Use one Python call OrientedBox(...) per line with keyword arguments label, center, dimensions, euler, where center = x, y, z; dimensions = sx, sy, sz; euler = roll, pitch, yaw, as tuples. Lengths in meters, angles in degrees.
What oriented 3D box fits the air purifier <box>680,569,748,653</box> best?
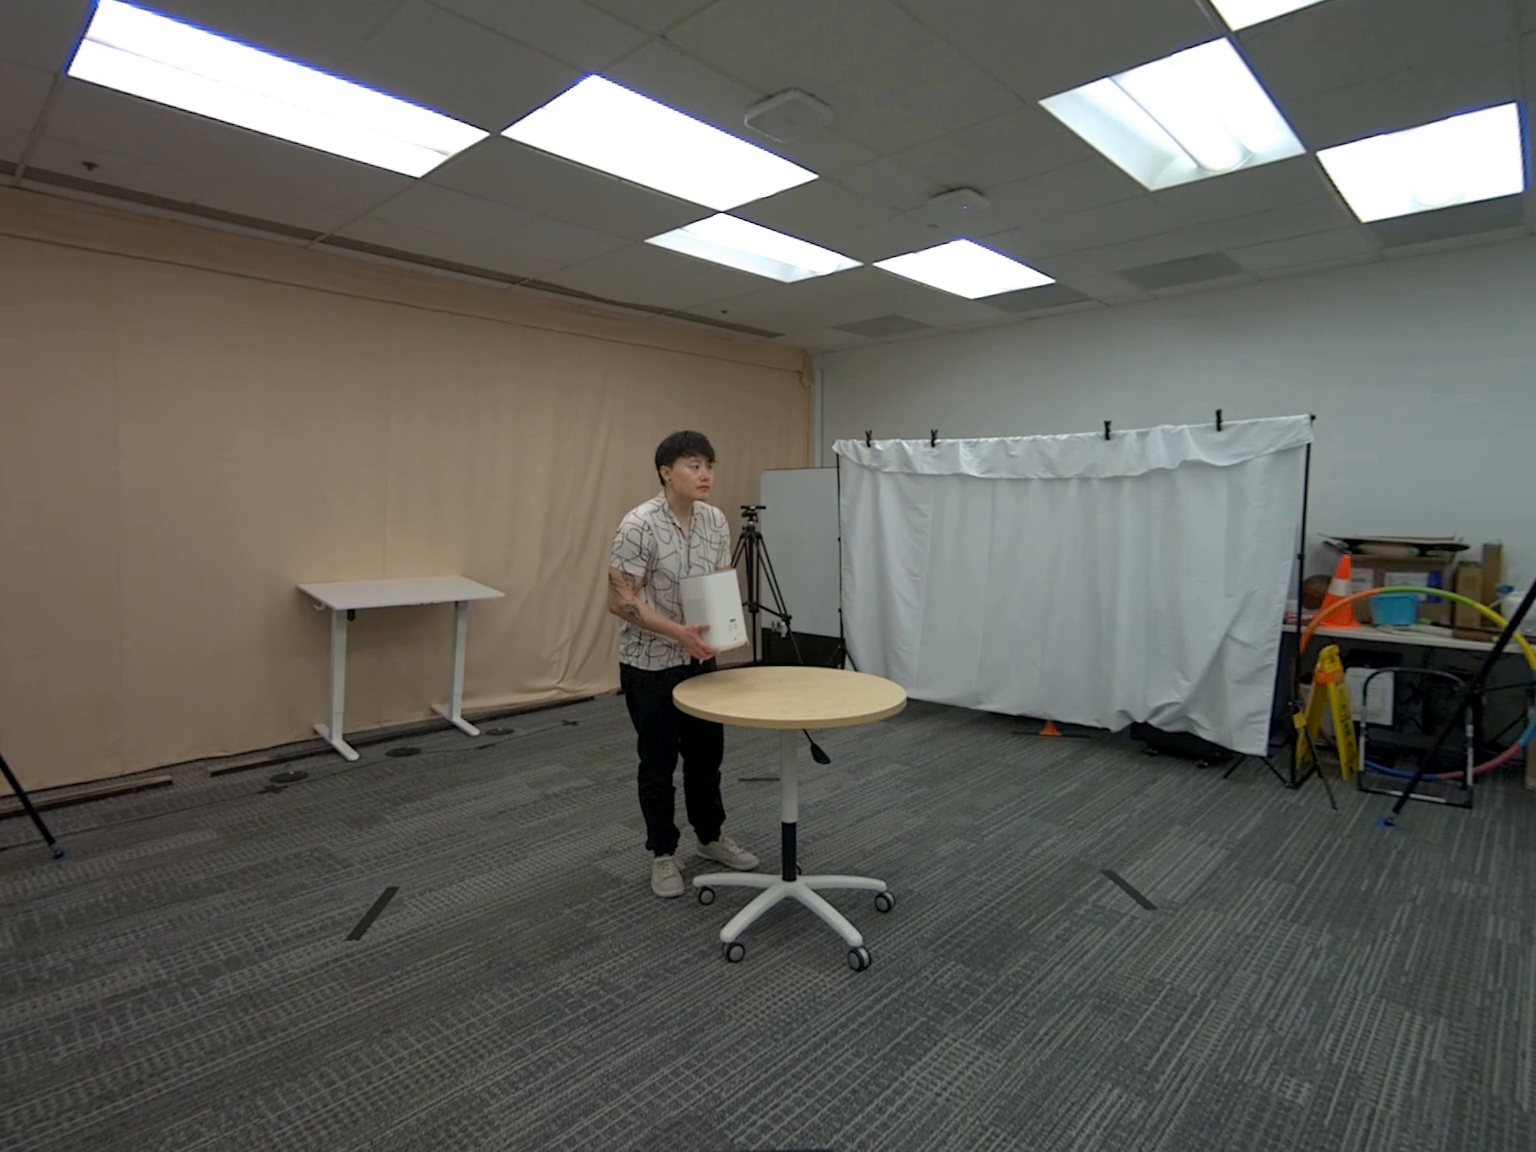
OrientedBox(label="air purifier", center=(-0.189, 0.125, 2.880), dimensions=(0.176, 0.265, 0.166), euler=(-9, 1, 42))
